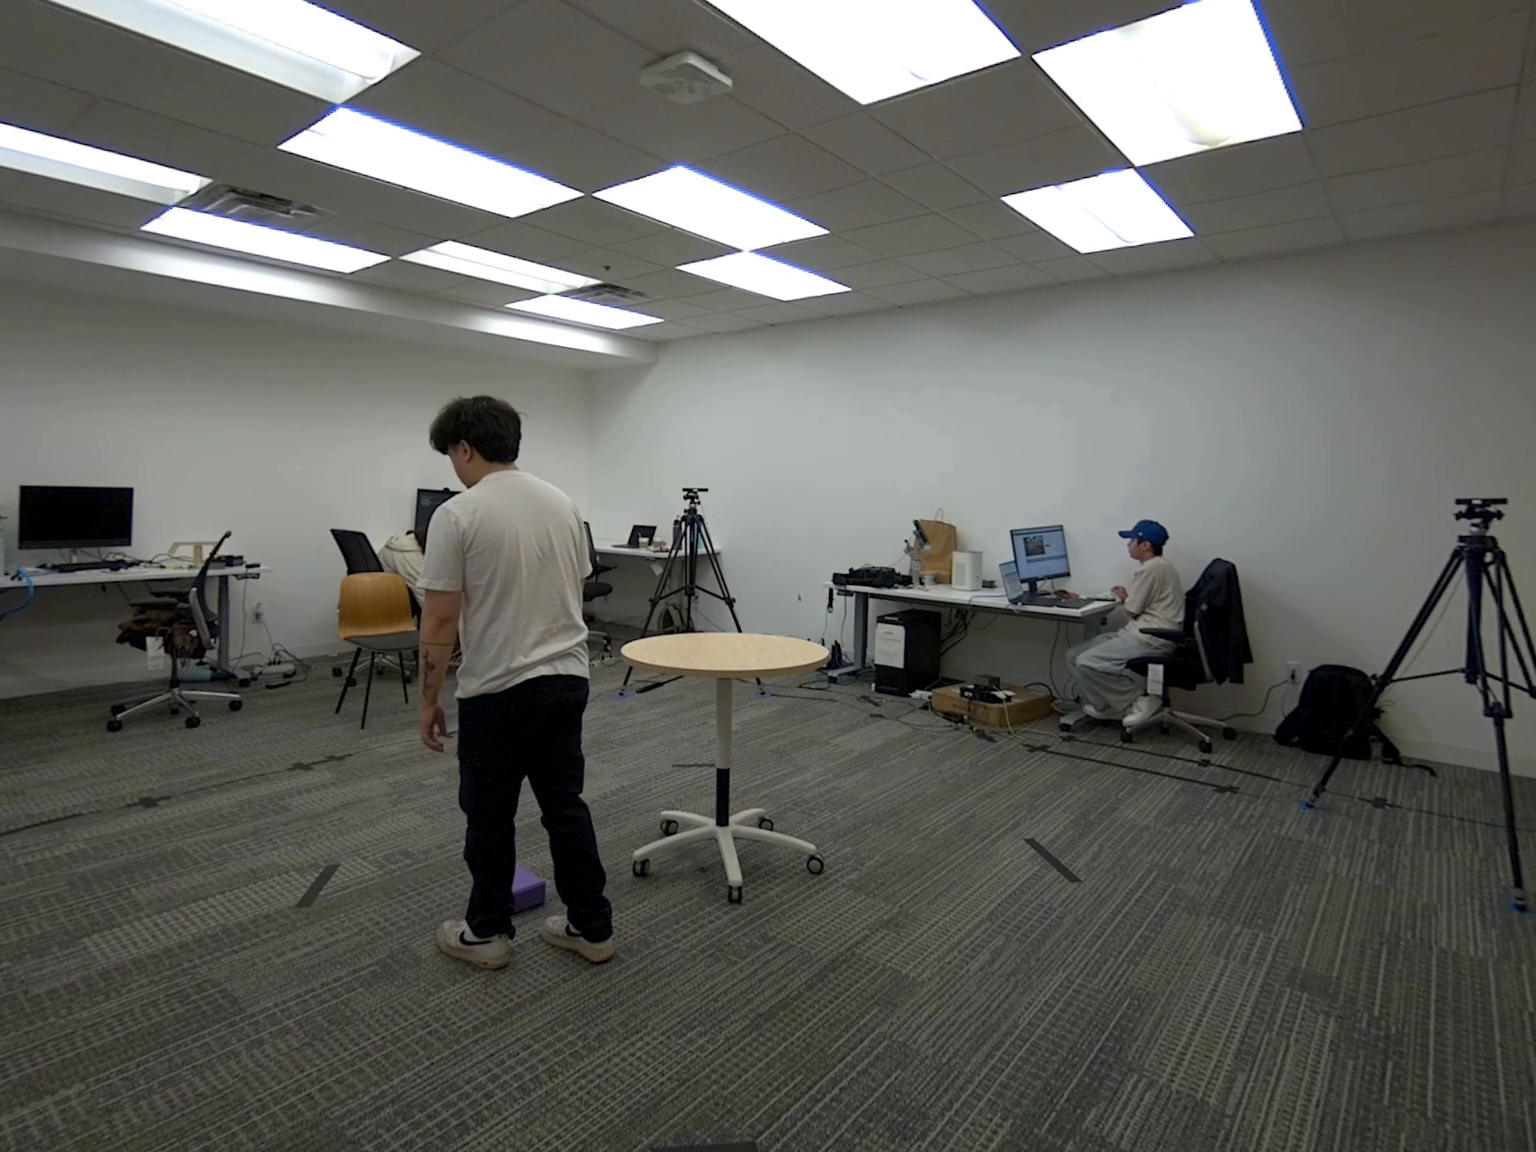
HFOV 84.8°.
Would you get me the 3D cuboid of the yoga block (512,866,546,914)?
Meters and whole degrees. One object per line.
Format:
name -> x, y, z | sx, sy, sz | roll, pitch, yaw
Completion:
yoga block -> -0.876, 1.042, 2.857 | 0.237, 0.076, 0.144 | 5, 6, 43
